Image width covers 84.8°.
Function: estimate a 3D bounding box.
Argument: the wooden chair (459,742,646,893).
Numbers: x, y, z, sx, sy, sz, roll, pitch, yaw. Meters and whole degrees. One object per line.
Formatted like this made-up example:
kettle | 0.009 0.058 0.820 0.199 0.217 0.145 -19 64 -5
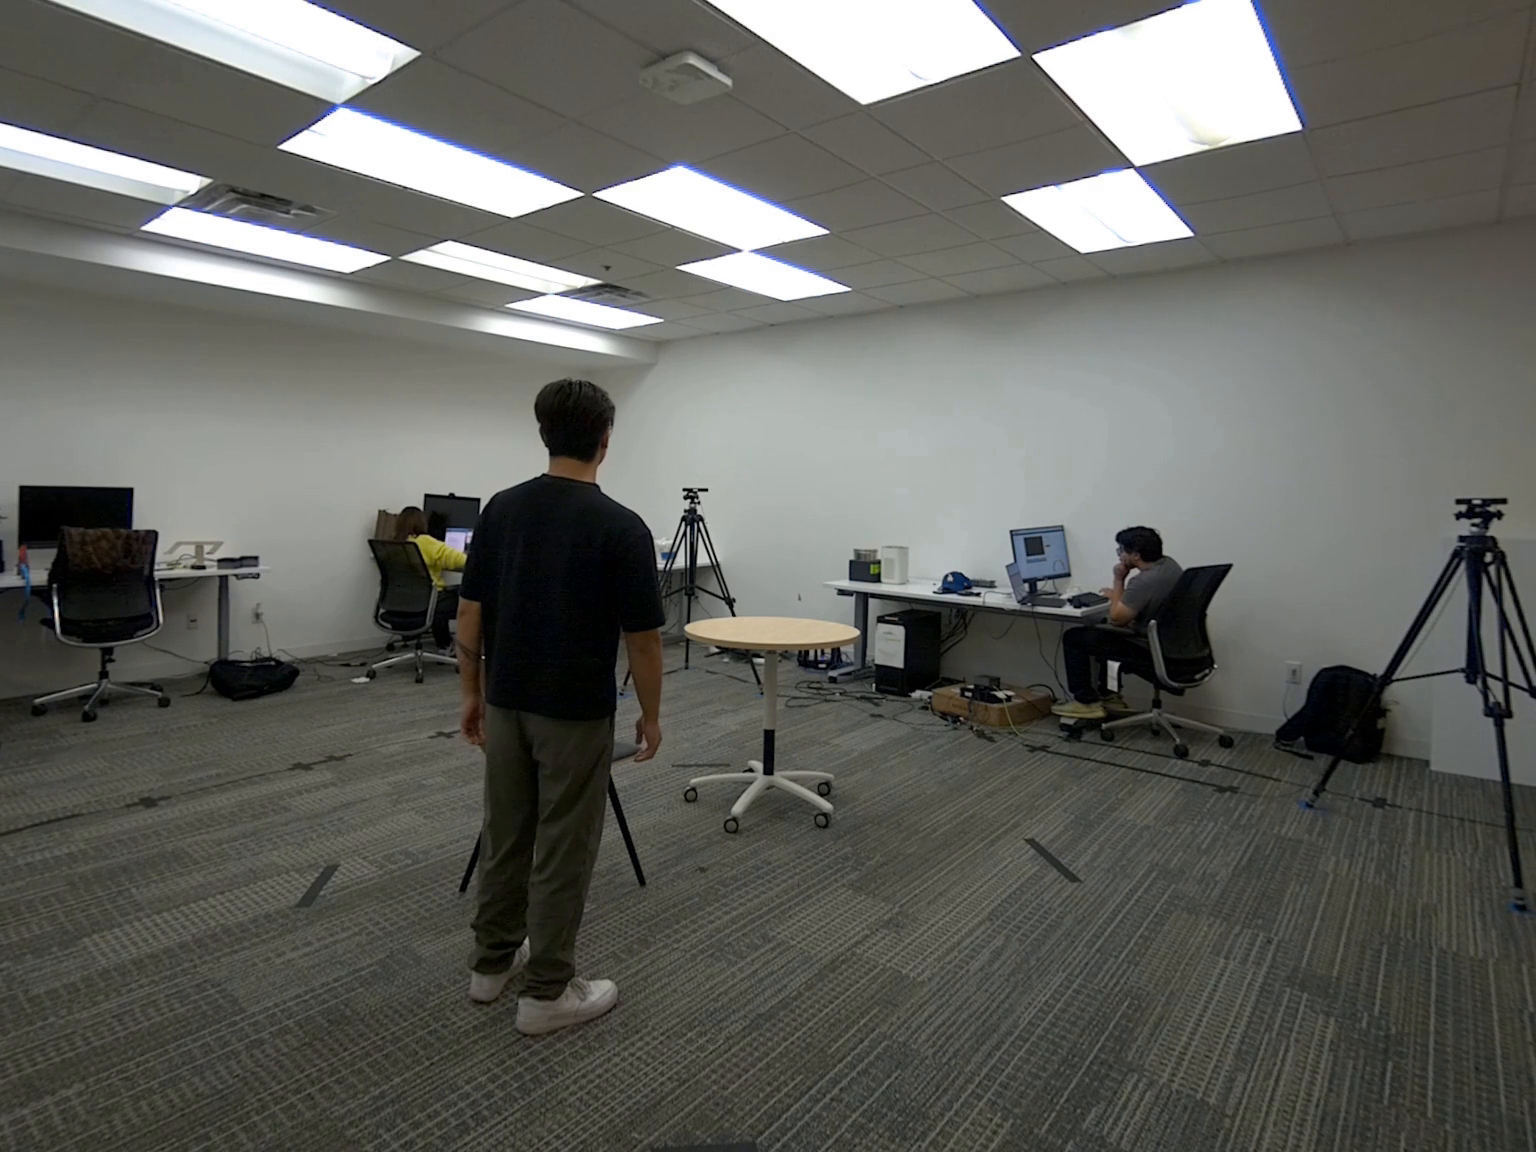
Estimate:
wooden chair | -0.736 0.649 2.915 0.494 0.872 0.510 3 8 37
